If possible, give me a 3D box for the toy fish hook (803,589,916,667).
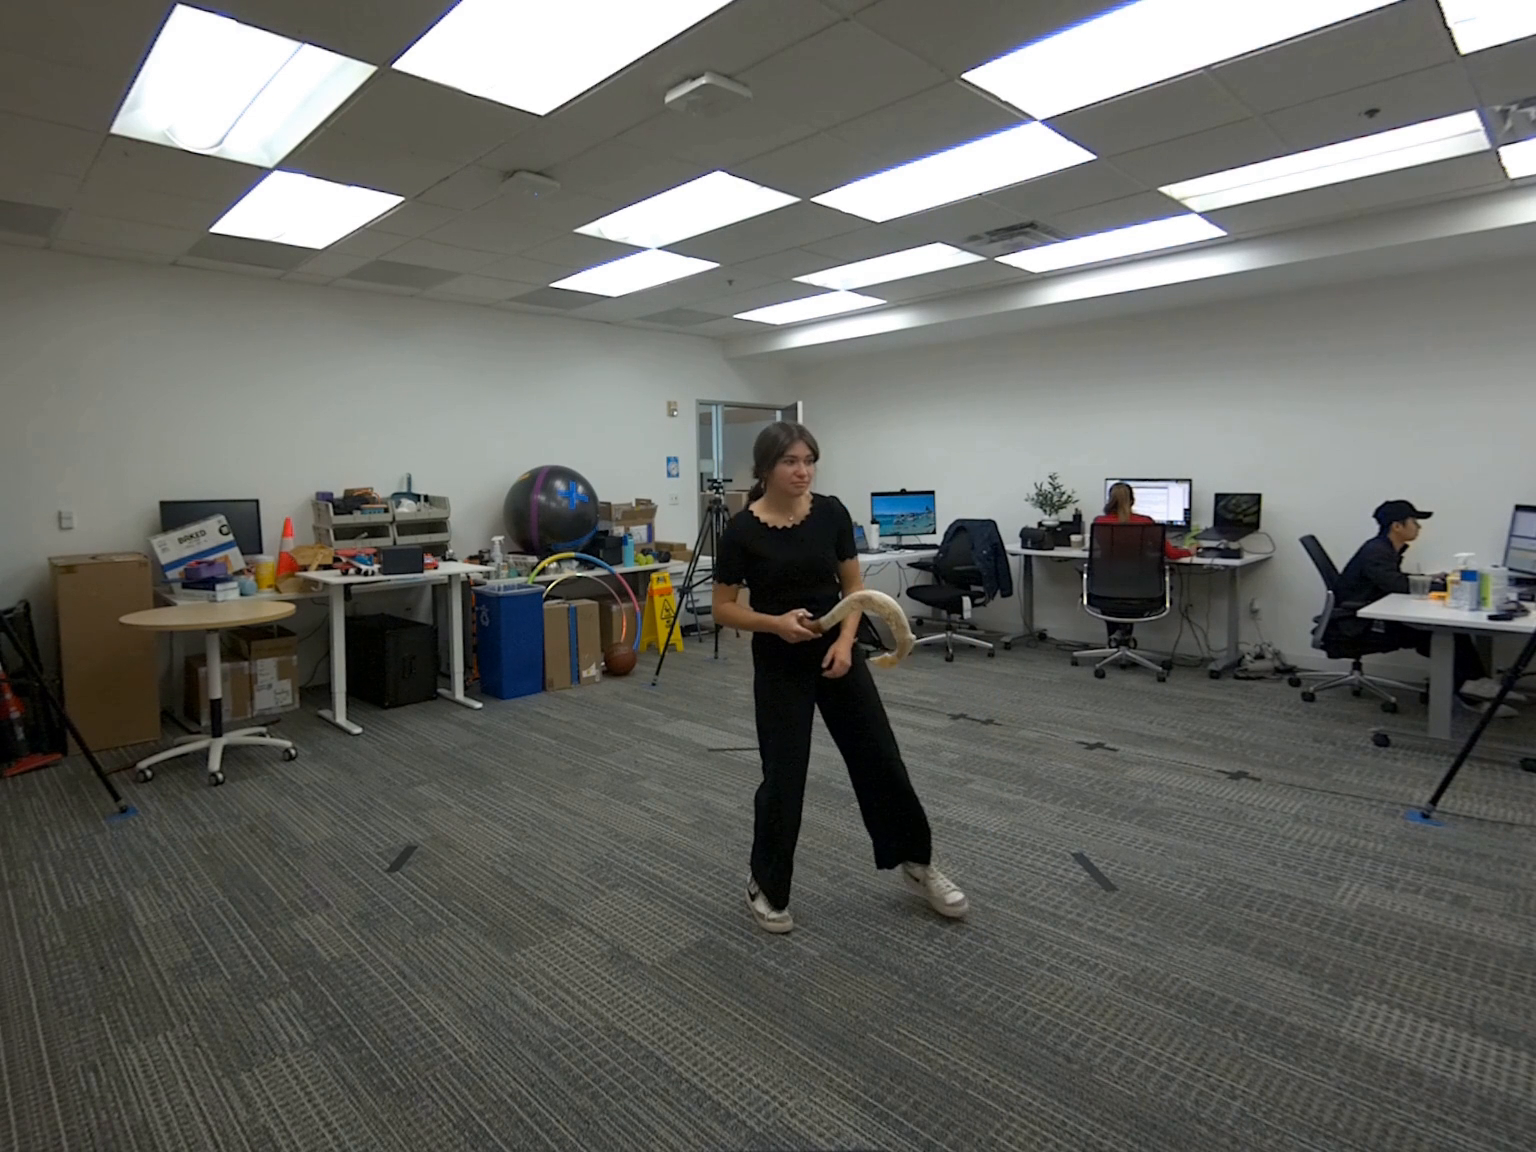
[{"bbox_3d":[0.226,0.184,2.383,0.047,0.225,0.514,-21,1,-34],"label":"toy fish hook"}]
